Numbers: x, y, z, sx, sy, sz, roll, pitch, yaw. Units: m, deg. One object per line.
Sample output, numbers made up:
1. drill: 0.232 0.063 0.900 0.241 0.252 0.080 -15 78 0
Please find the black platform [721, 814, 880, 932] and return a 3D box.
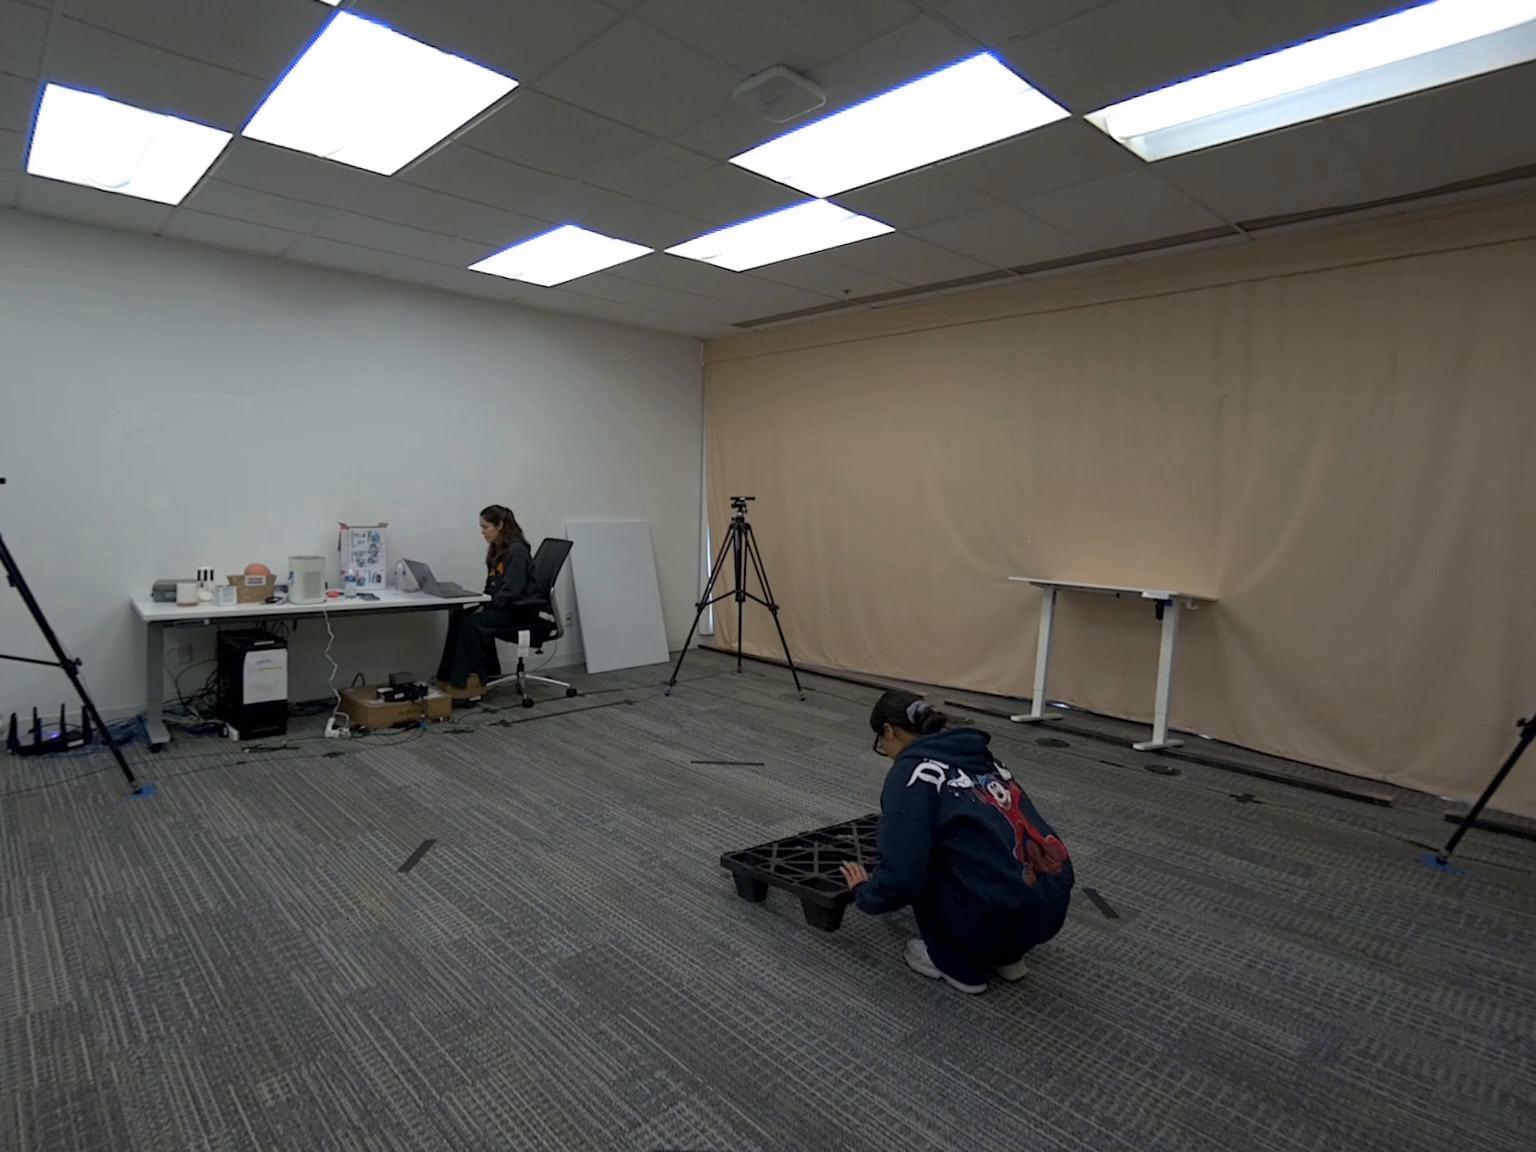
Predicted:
1. black platform: 0.315 1.030 2.980 0.787 0.144 0.617 -2 -3 -37
